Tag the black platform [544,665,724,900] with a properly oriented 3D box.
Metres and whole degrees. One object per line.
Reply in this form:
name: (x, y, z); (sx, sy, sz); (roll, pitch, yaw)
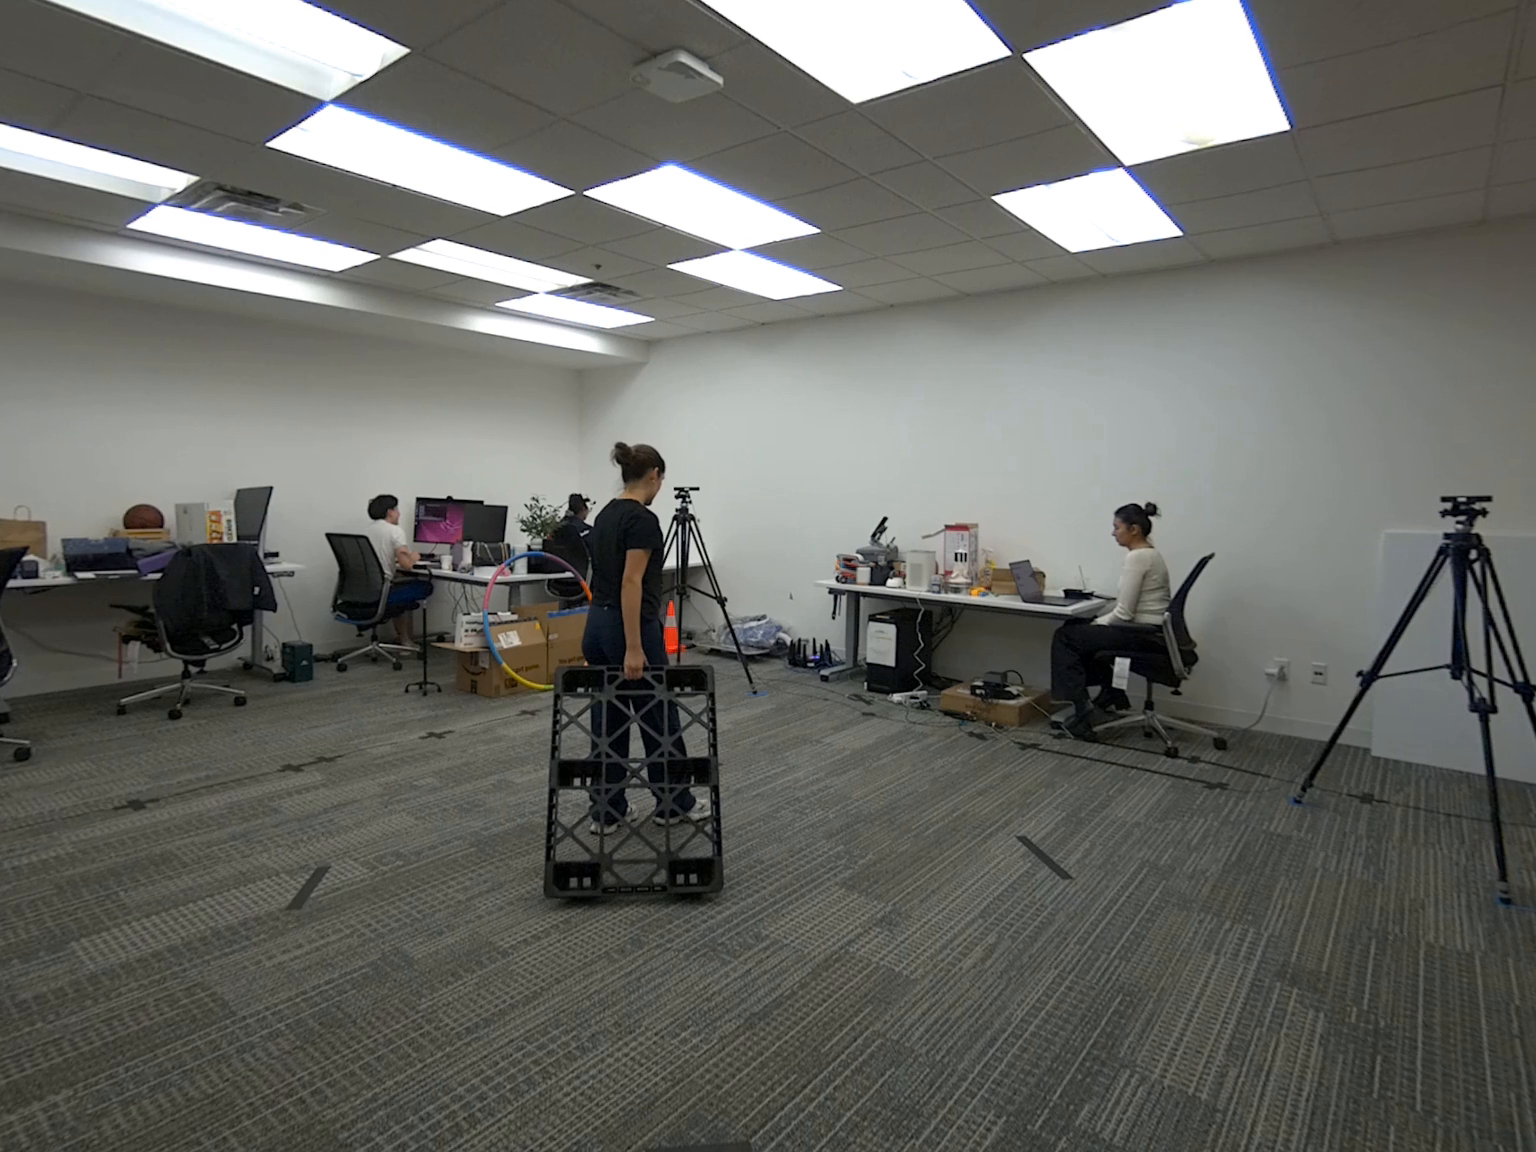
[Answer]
black platform: (-0.459, 0.712, 3.075); (0.601, 0.826, 0.141); (0, -27, -6)
